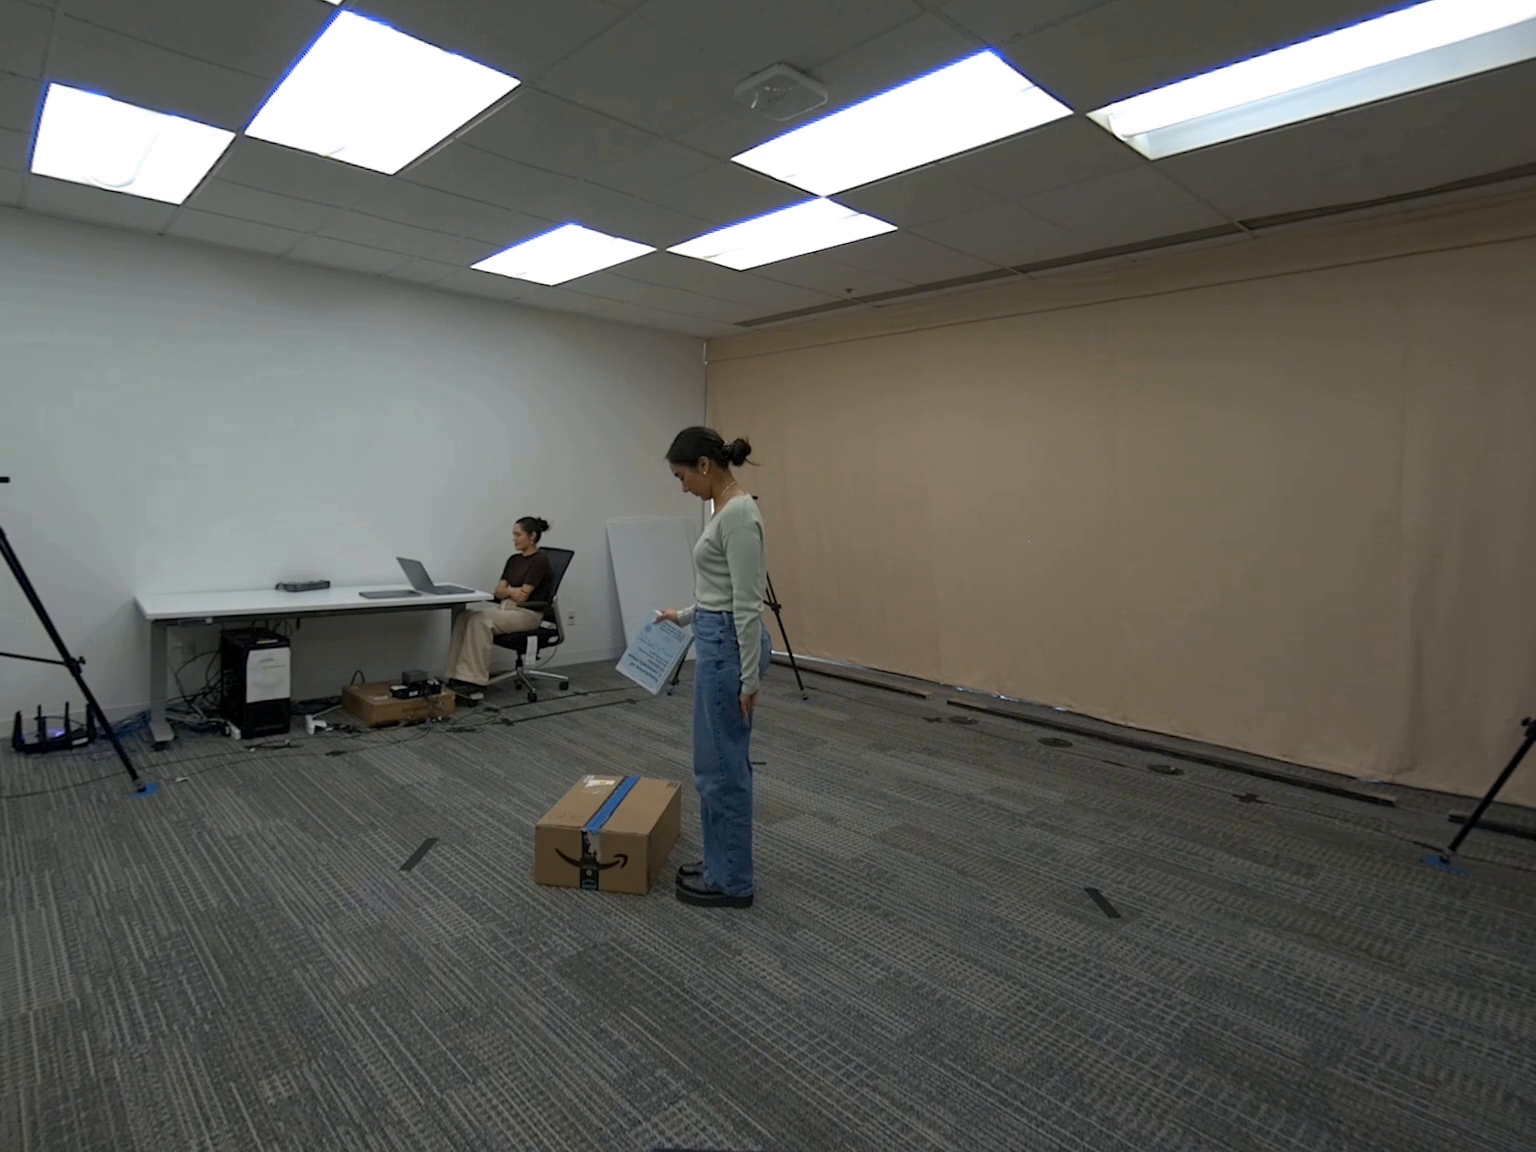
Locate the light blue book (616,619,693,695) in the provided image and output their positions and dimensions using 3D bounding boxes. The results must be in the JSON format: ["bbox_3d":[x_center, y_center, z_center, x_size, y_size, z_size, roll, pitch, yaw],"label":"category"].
[{"bbox_3d":[-0.420,0.287,3.165,0.193,0.261,0.058,30,0,8],"label":"light blue book"}]
